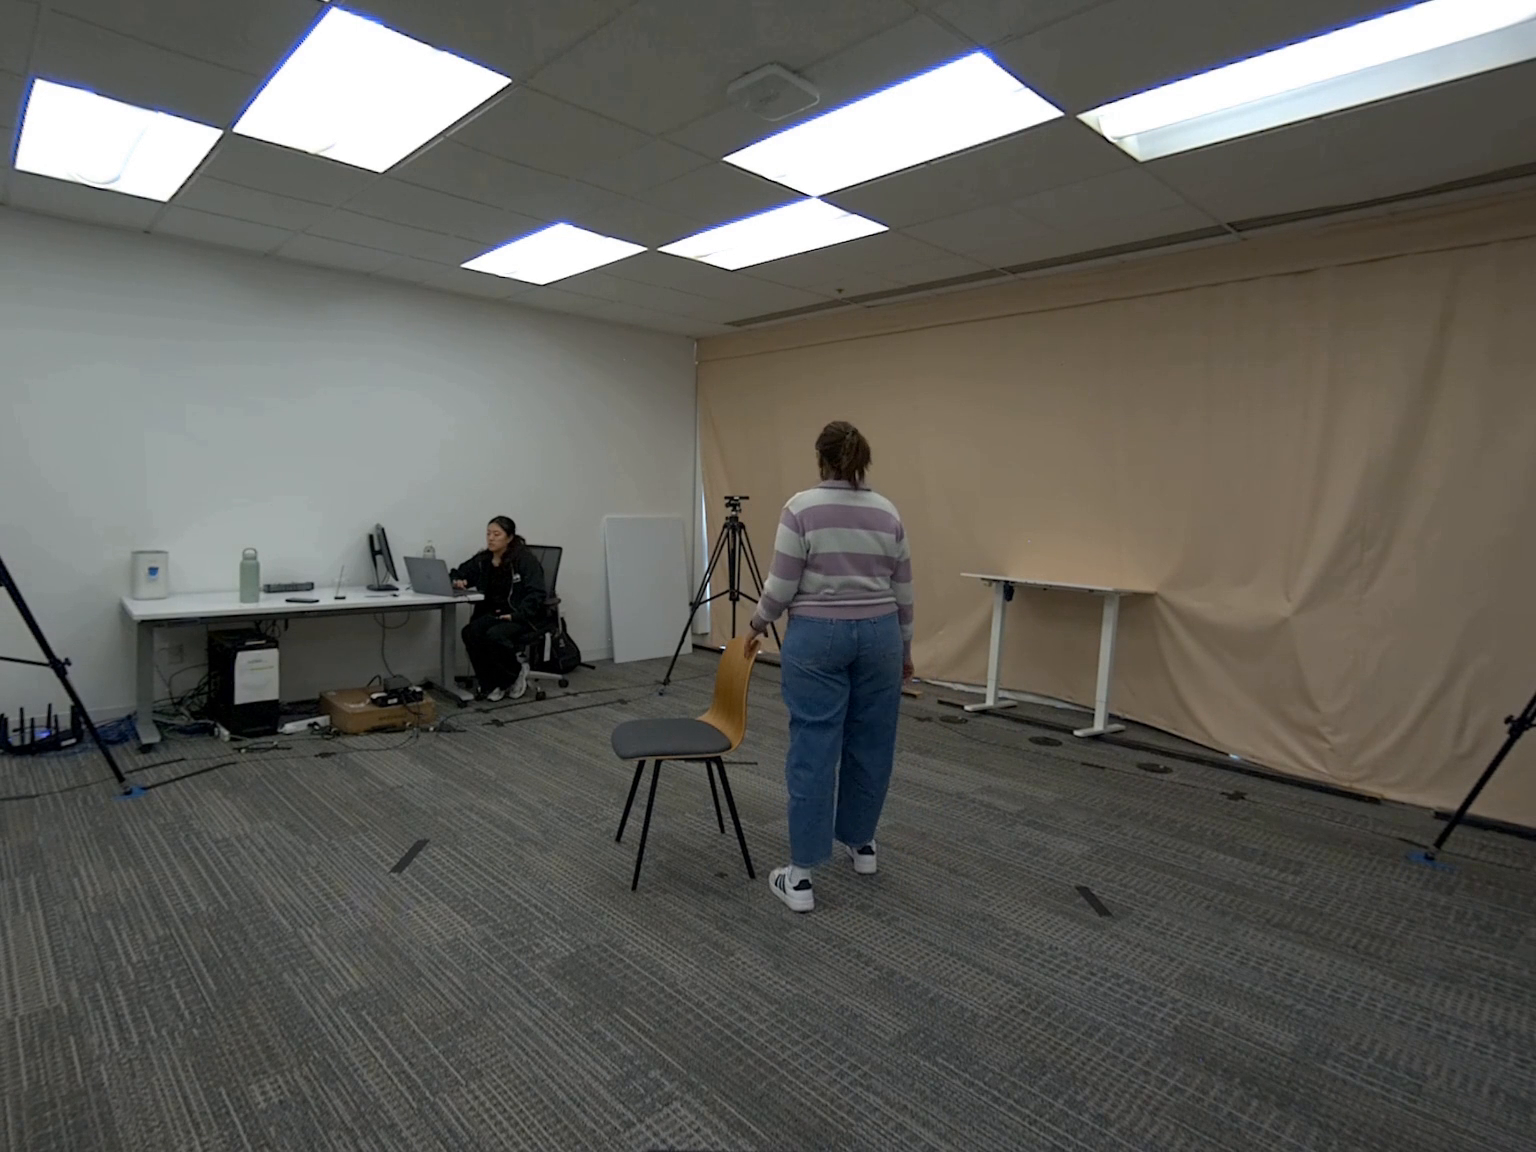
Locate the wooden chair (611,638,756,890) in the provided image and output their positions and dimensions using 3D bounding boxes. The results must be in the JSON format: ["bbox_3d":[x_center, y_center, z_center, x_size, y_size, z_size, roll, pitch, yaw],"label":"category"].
[{"bbox_3d":[-0.332,0.658,3.198,0.516,0.876,0.485,5,2,-17],"label":"wooden chair"}]
